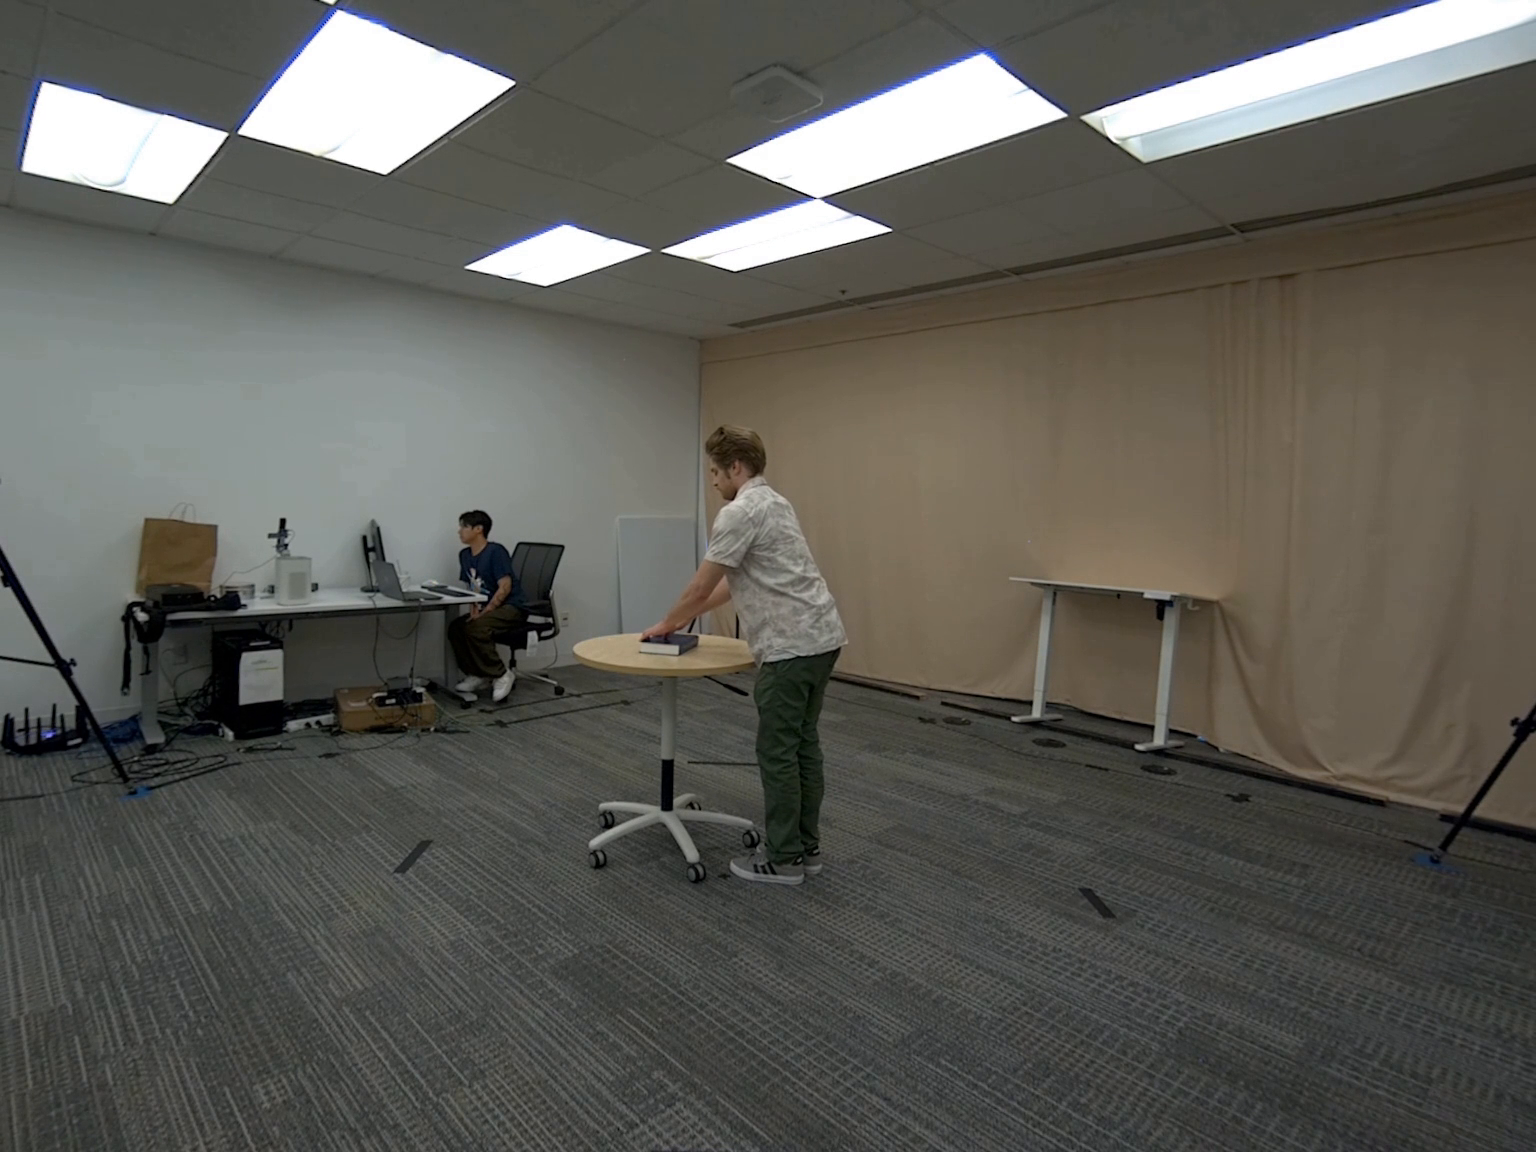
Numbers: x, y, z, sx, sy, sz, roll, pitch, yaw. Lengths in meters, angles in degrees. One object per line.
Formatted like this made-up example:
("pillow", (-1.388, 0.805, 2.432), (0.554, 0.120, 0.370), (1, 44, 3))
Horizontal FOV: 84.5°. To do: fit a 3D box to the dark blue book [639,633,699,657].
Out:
("dark blue book", (-0.395, 0.266, 3.340), (0.165, 0.045, 0.243), (3, 5, 13))
